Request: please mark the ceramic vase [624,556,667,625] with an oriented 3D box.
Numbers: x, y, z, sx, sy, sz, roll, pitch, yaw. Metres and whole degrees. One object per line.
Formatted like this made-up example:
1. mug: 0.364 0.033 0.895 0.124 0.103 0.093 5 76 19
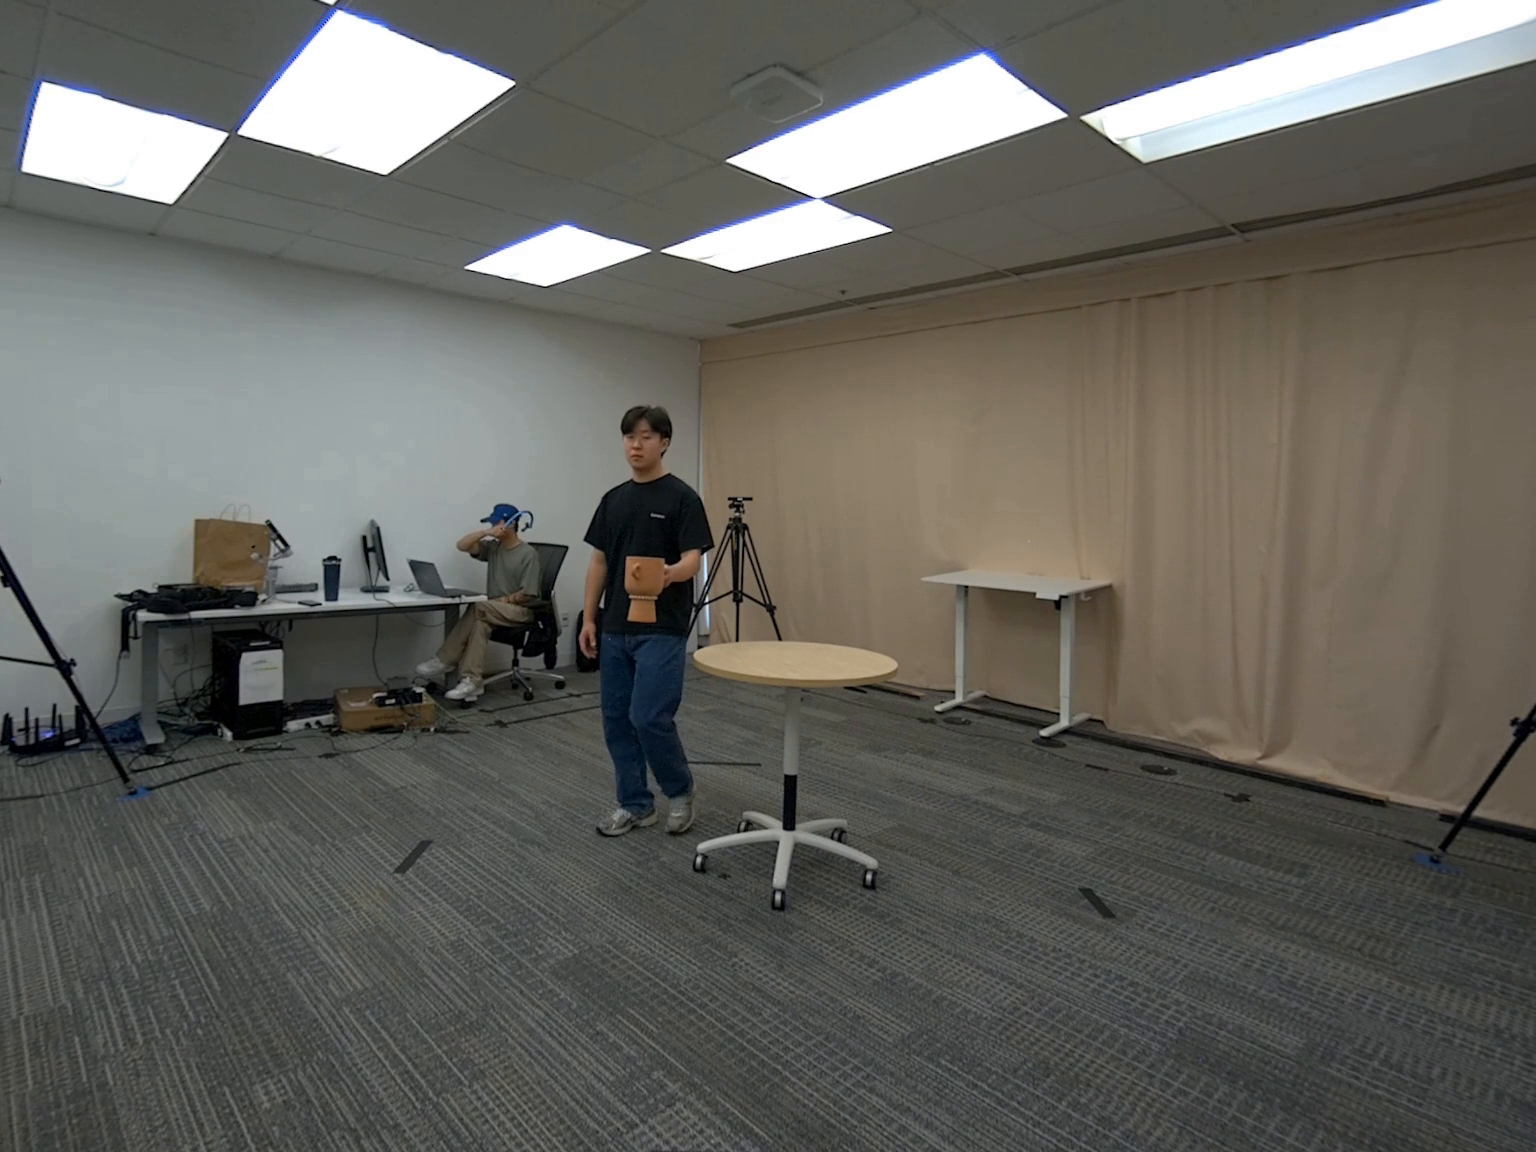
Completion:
1. ceramic vase: -0.442 0.051 2.911 0.155 0.220 0.138 4 0 -36
